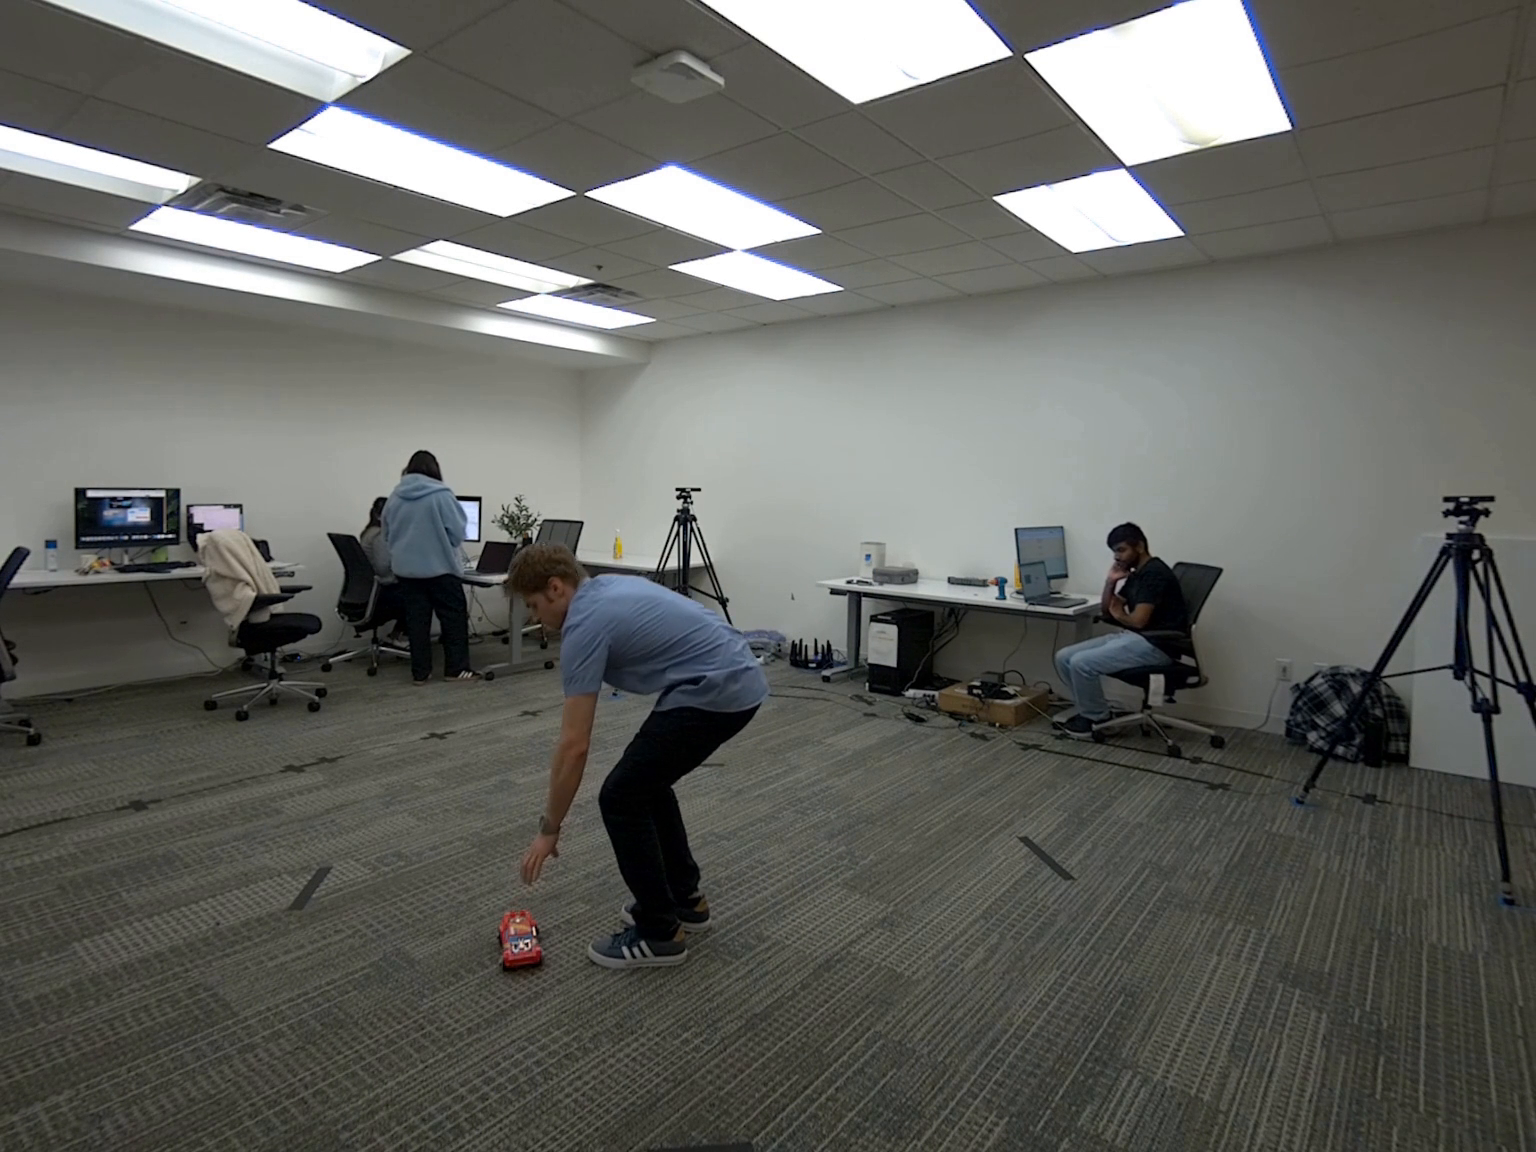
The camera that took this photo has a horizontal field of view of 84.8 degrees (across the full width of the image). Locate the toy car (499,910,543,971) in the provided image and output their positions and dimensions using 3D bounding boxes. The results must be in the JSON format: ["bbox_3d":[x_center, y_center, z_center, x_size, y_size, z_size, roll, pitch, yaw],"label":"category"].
[{"bbox_3d":[-0.754,1.084,2.553,0.128,0.082,0.263,0,16,-20],"label":"toy car"}]
